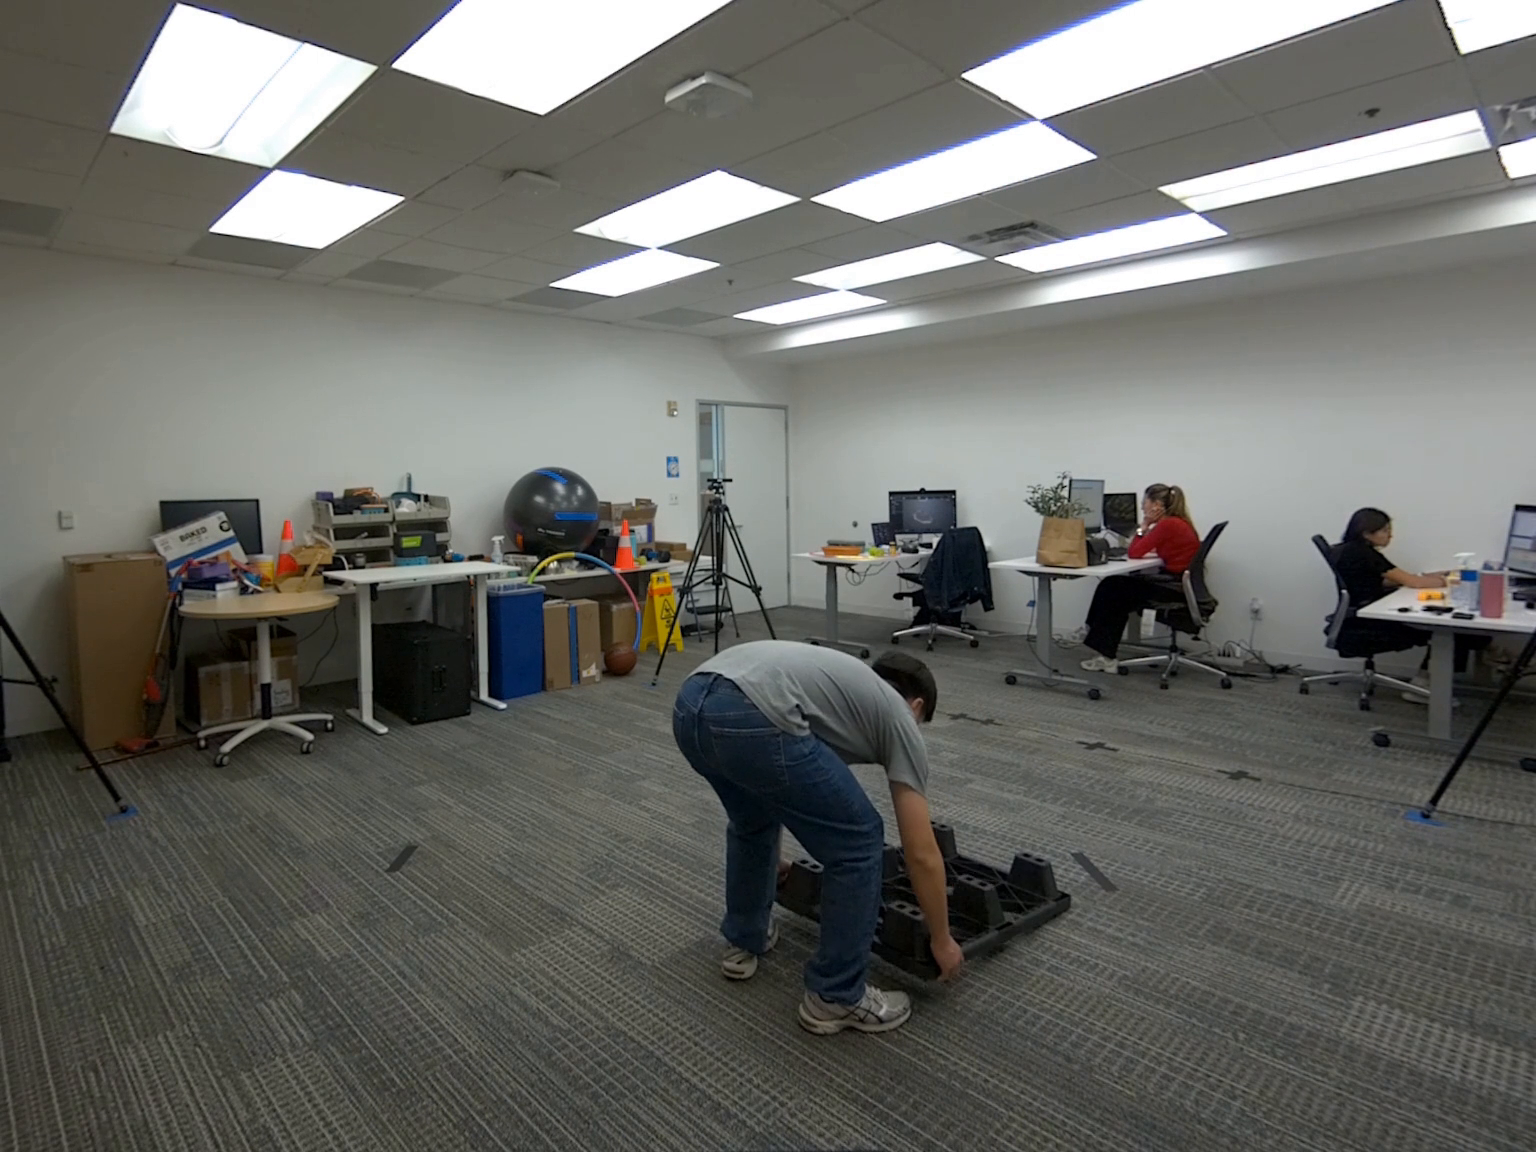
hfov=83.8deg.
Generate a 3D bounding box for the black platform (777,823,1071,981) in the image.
[{"bbox_3d":[0.505,0.971,2.724,0.781,0.143,0.624,1,4,-43],"label":"black platform"}]
